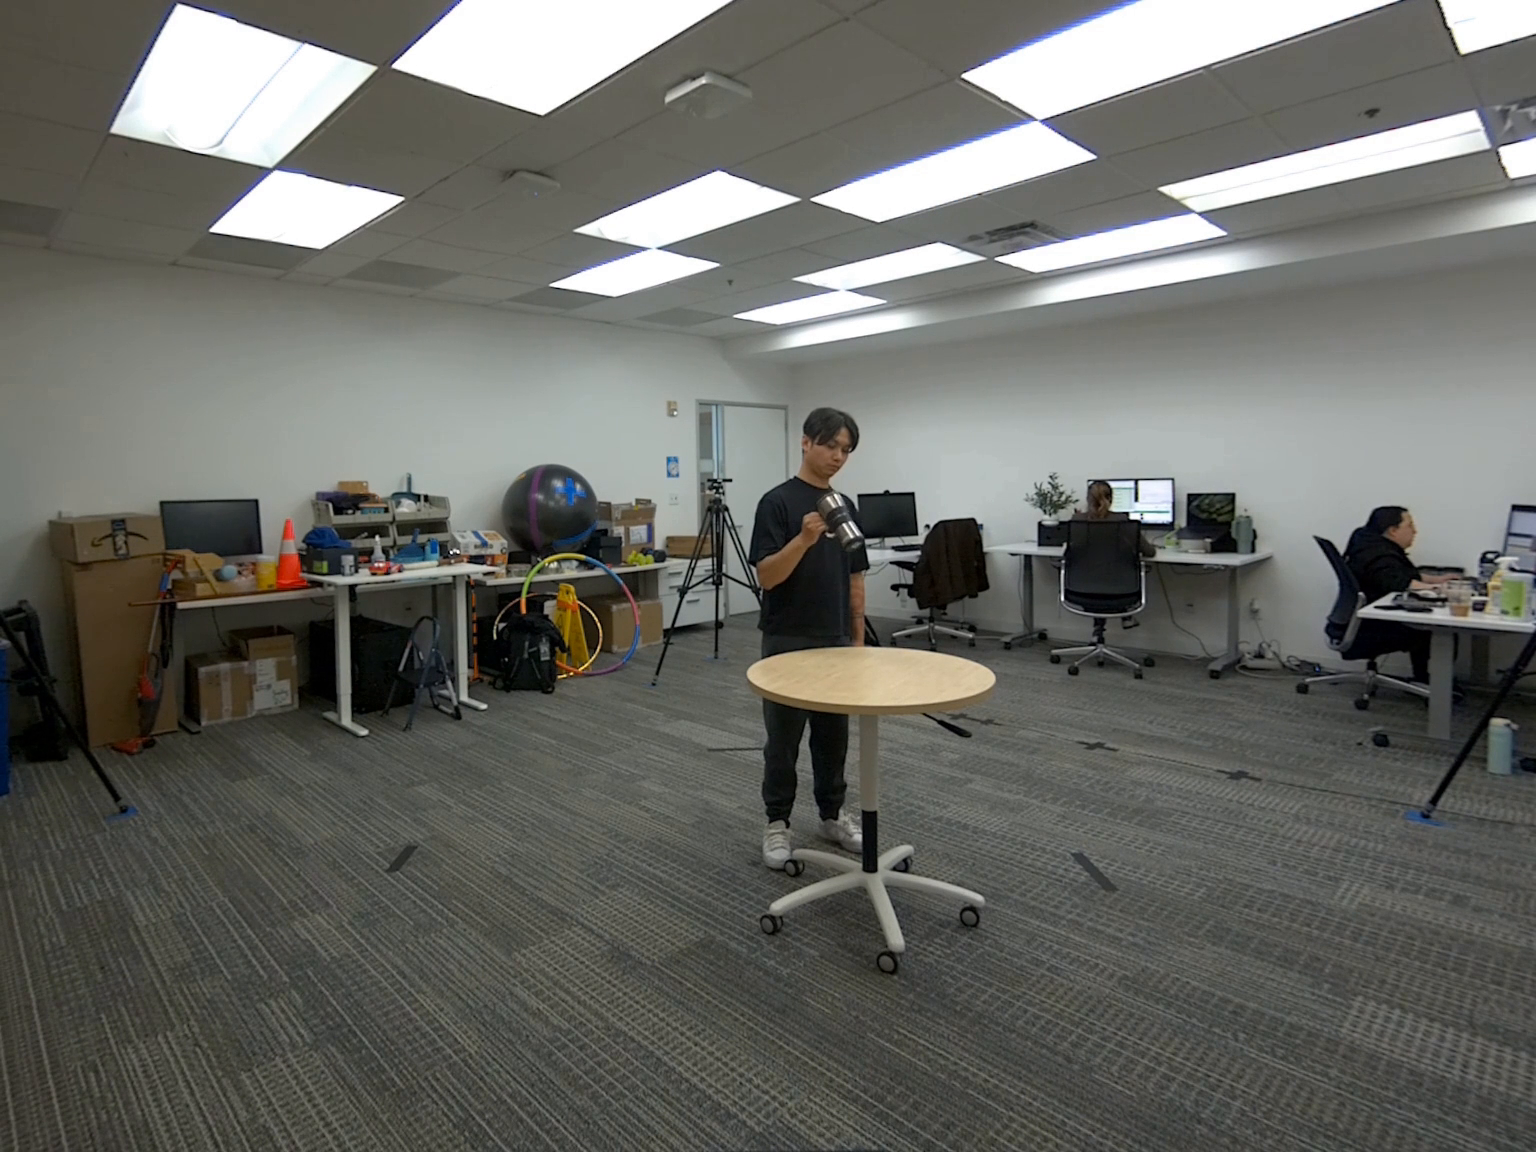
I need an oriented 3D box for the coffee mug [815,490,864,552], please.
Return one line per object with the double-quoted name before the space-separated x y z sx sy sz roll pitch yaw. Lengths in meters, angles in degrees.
"coffee mug" 0.233 -0.158 2.785 0.087 0.209 0.119 -20 -26 -16
